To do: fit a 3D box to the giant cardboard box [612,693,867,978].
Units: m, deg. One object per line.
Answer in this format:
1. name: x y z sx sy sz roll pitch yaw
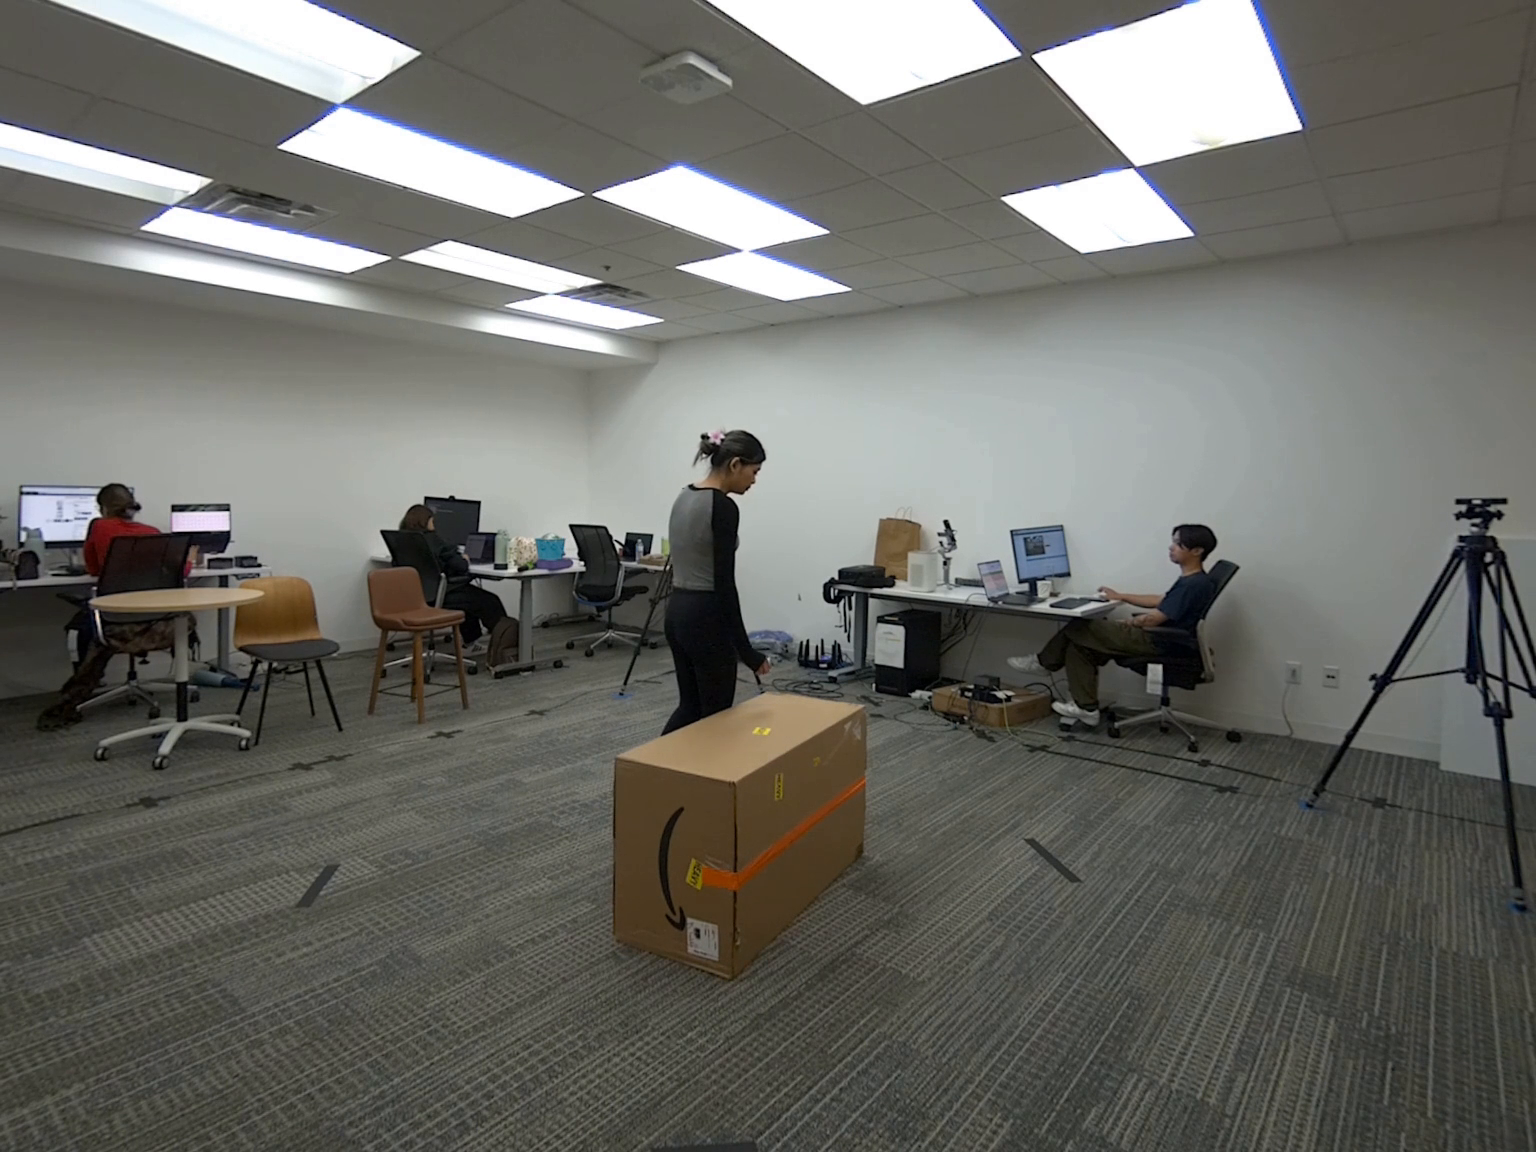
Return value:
1. giant cardboard box: -0.054 0.804 2.919 0.438 0.576 1.000 2 5 29
